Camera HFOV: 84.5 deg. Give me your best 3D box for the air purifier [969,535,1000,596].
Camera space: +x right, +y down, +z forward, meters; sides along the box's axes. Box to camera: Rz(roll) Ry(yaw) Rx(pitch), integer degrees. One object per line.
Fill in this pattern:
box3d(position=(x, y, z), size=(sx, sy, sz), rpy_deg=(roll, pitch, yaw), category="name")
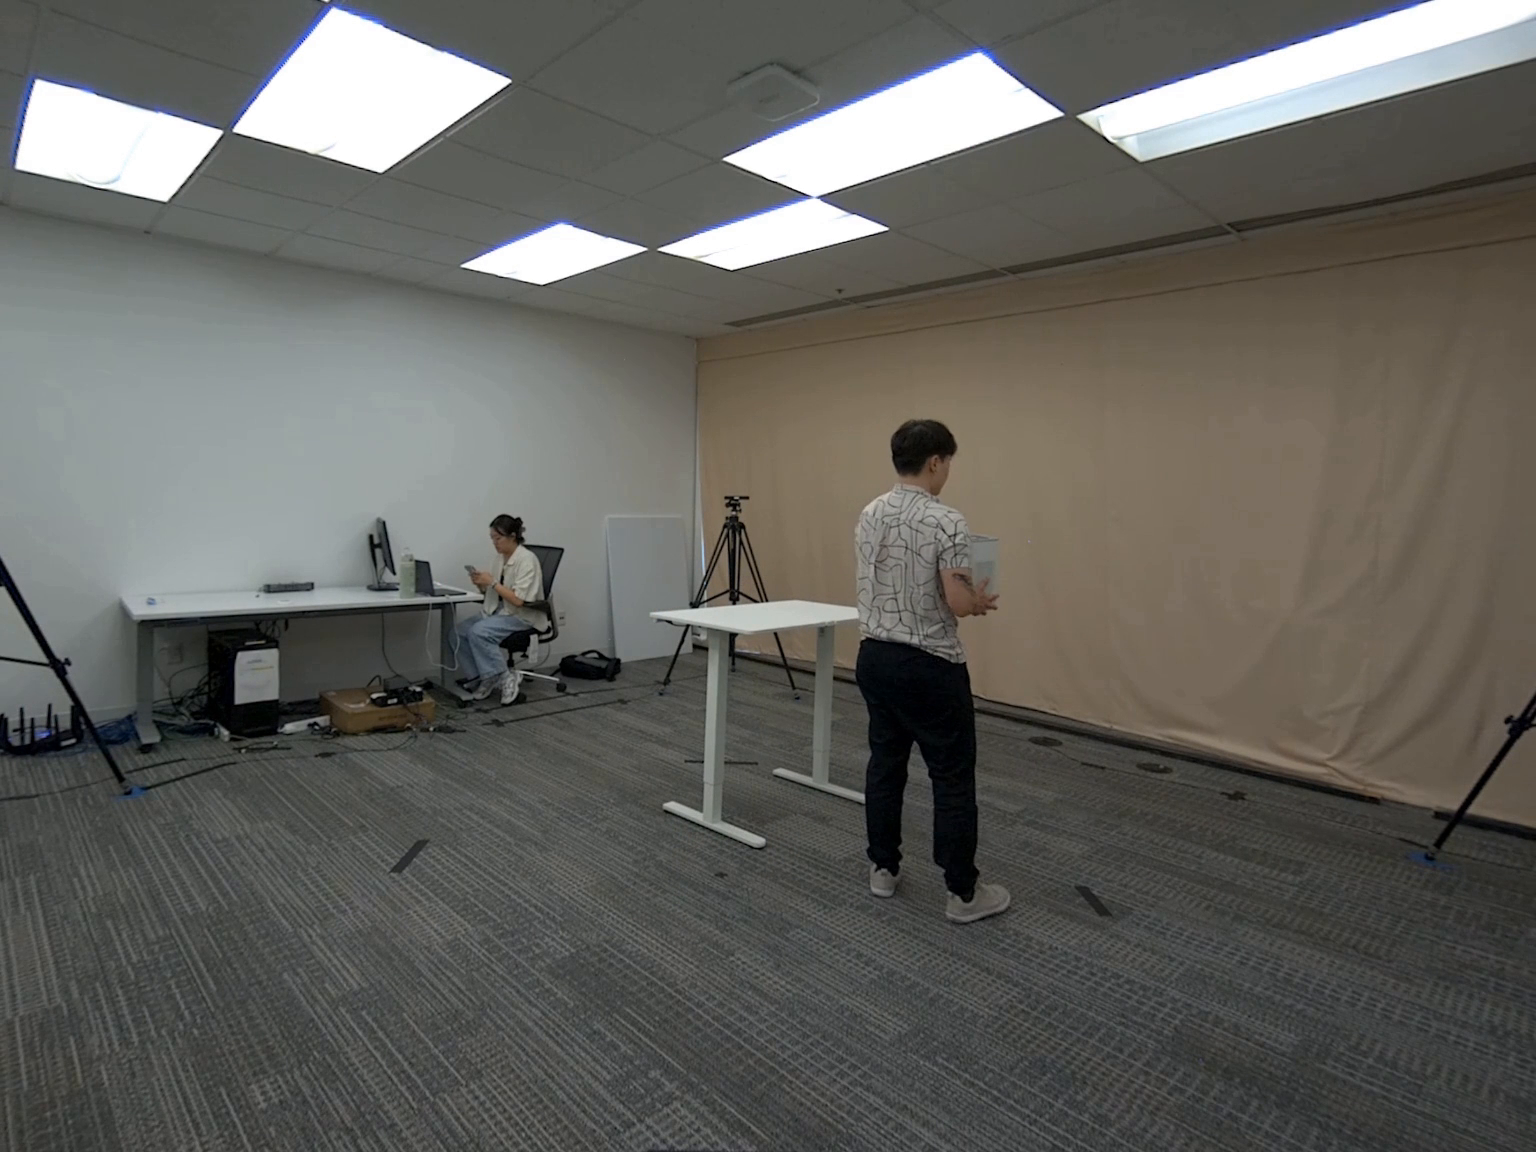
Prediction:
box3d(position=(0.739, -0.013, 3.073), size=(0.169, 0.264, 0.175), rpy_deg=(-5, 9, -24), category="air purifier")
